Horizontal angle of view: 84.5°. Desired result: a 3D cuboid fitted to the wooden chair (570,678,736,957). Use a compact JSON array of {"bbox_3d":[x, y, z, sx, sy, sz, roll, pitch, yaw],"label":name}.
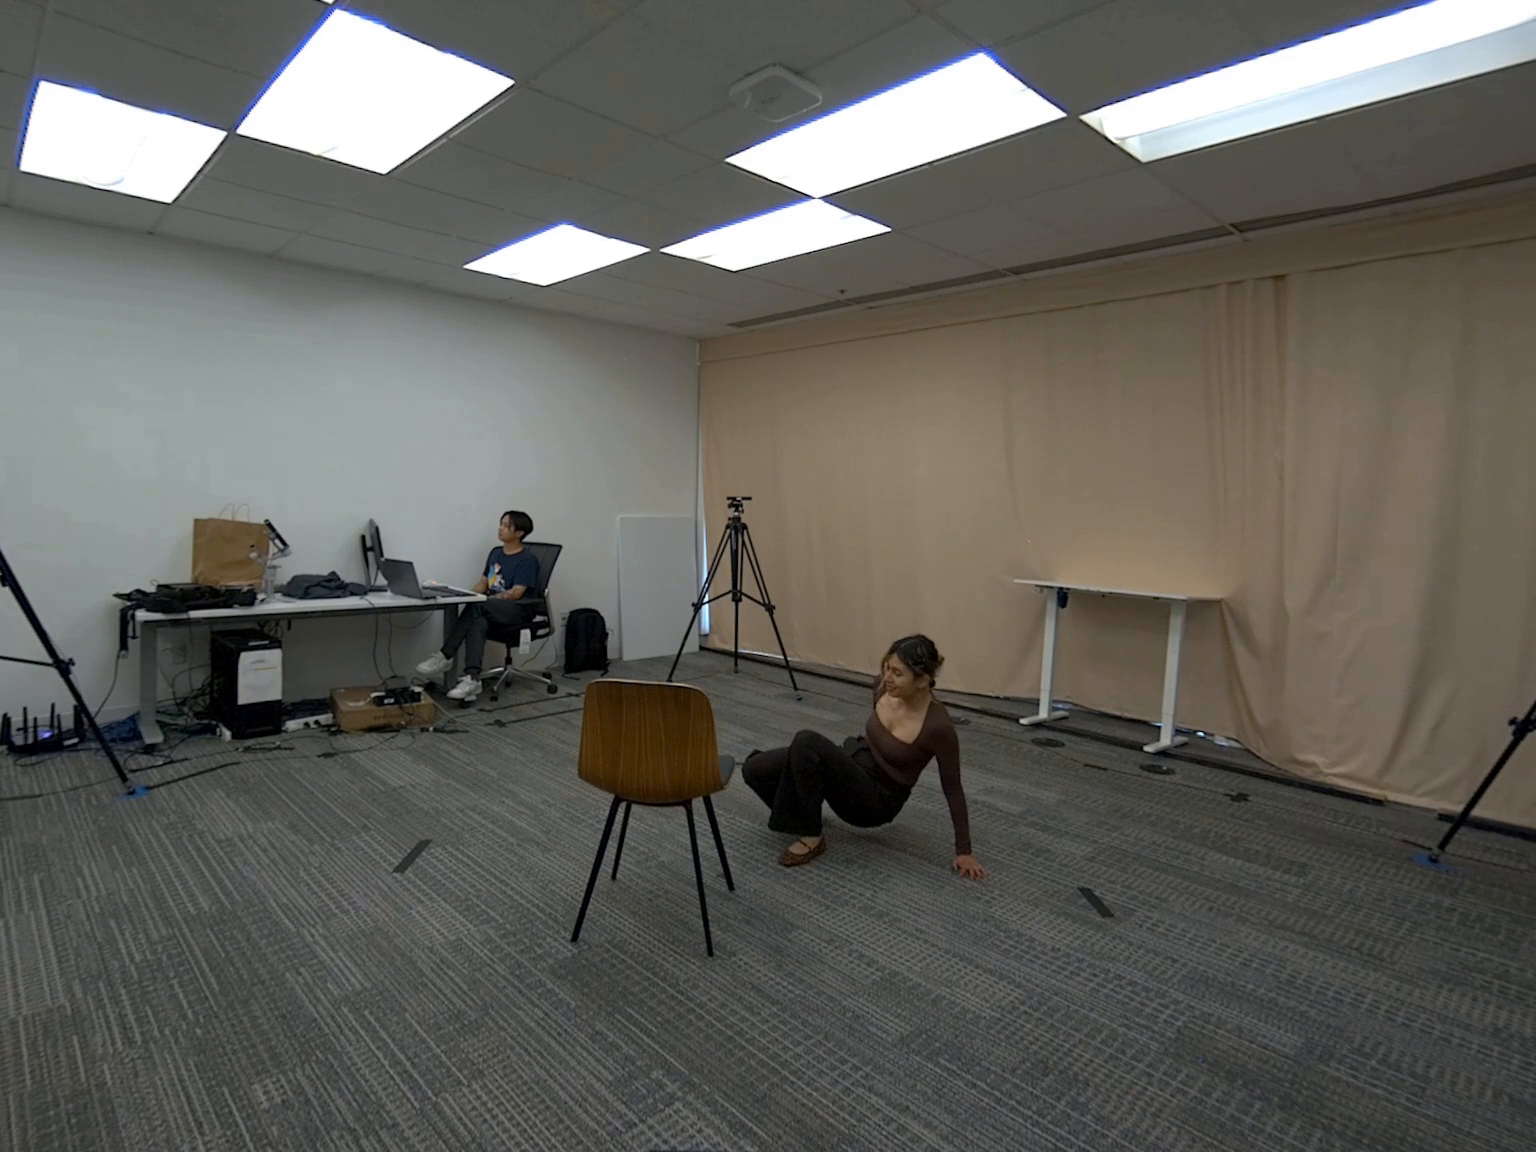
[{"bbox_3d":[-0.364,0.704,2.779,0.481,0.872,0.522,1,7,7],"label":"wooden chair"}]
